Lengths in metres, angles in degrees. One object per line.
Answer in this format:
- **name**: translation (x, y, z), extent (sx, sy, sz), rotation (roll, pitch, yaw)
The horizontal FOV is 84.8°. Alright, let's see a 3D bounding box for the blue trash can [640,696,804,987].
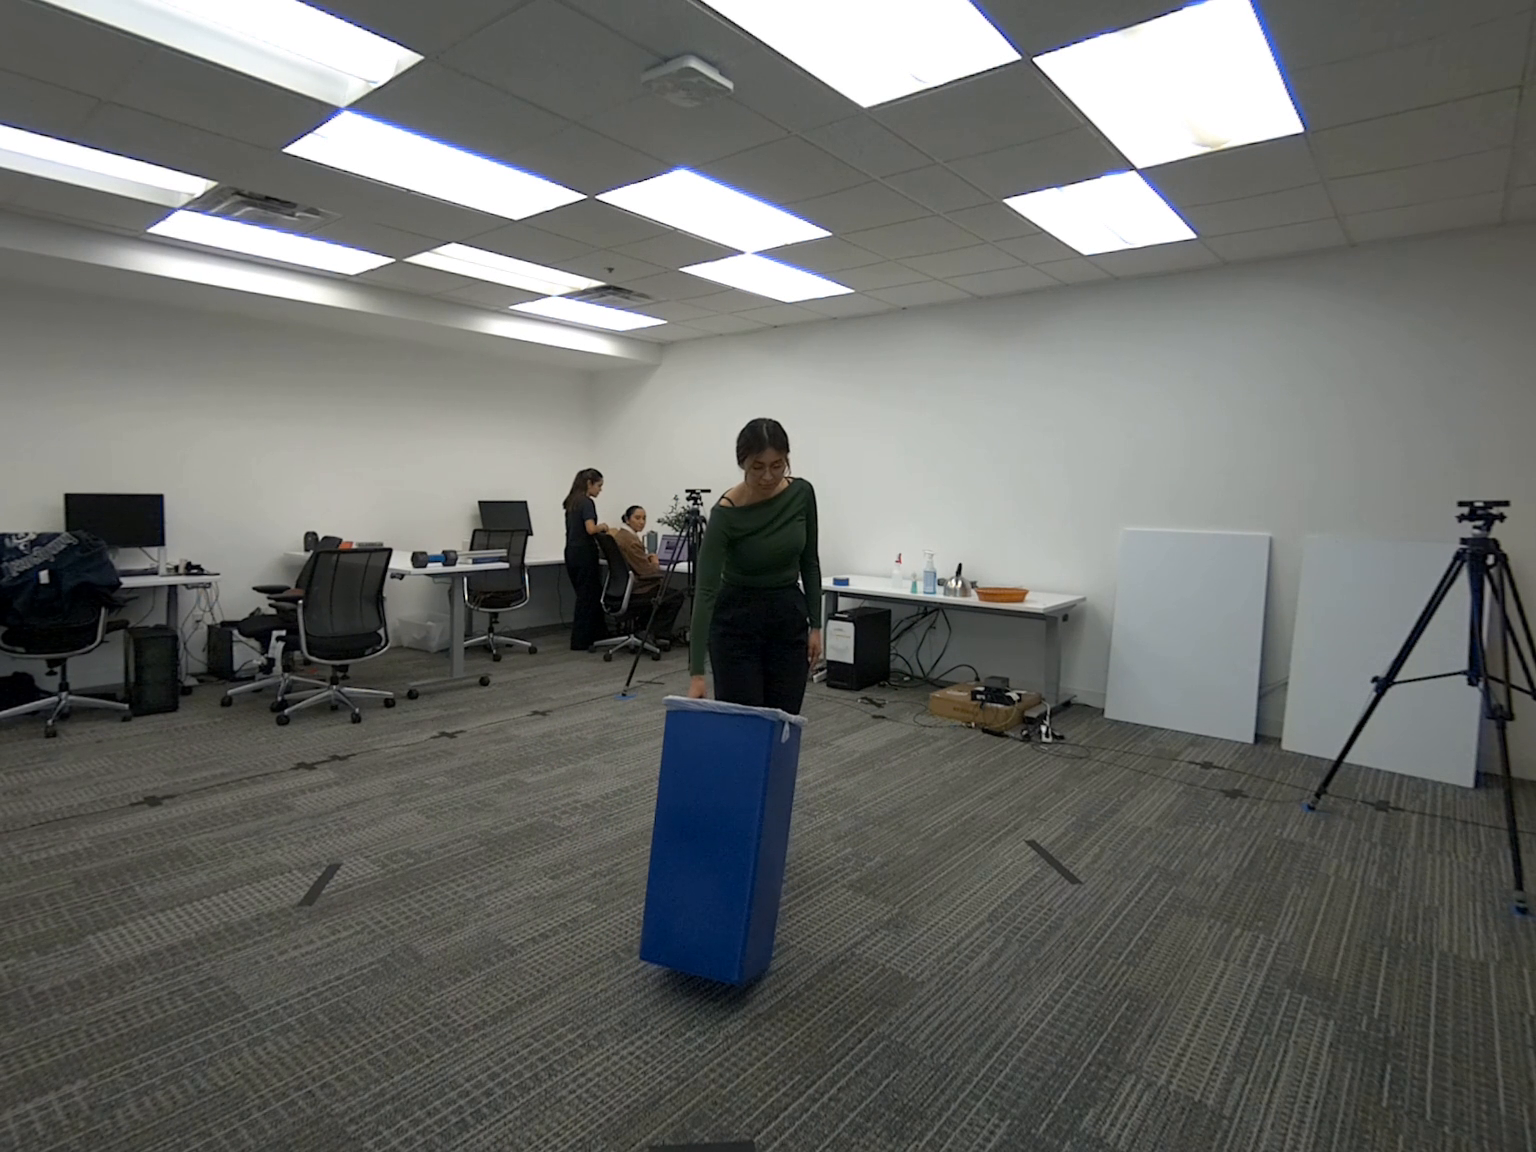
- **blue trash can**: translation (-0.139, 0.748, 2.494), extent (0.386, 0.722, 0.362), rotation (2, -16, 18)
